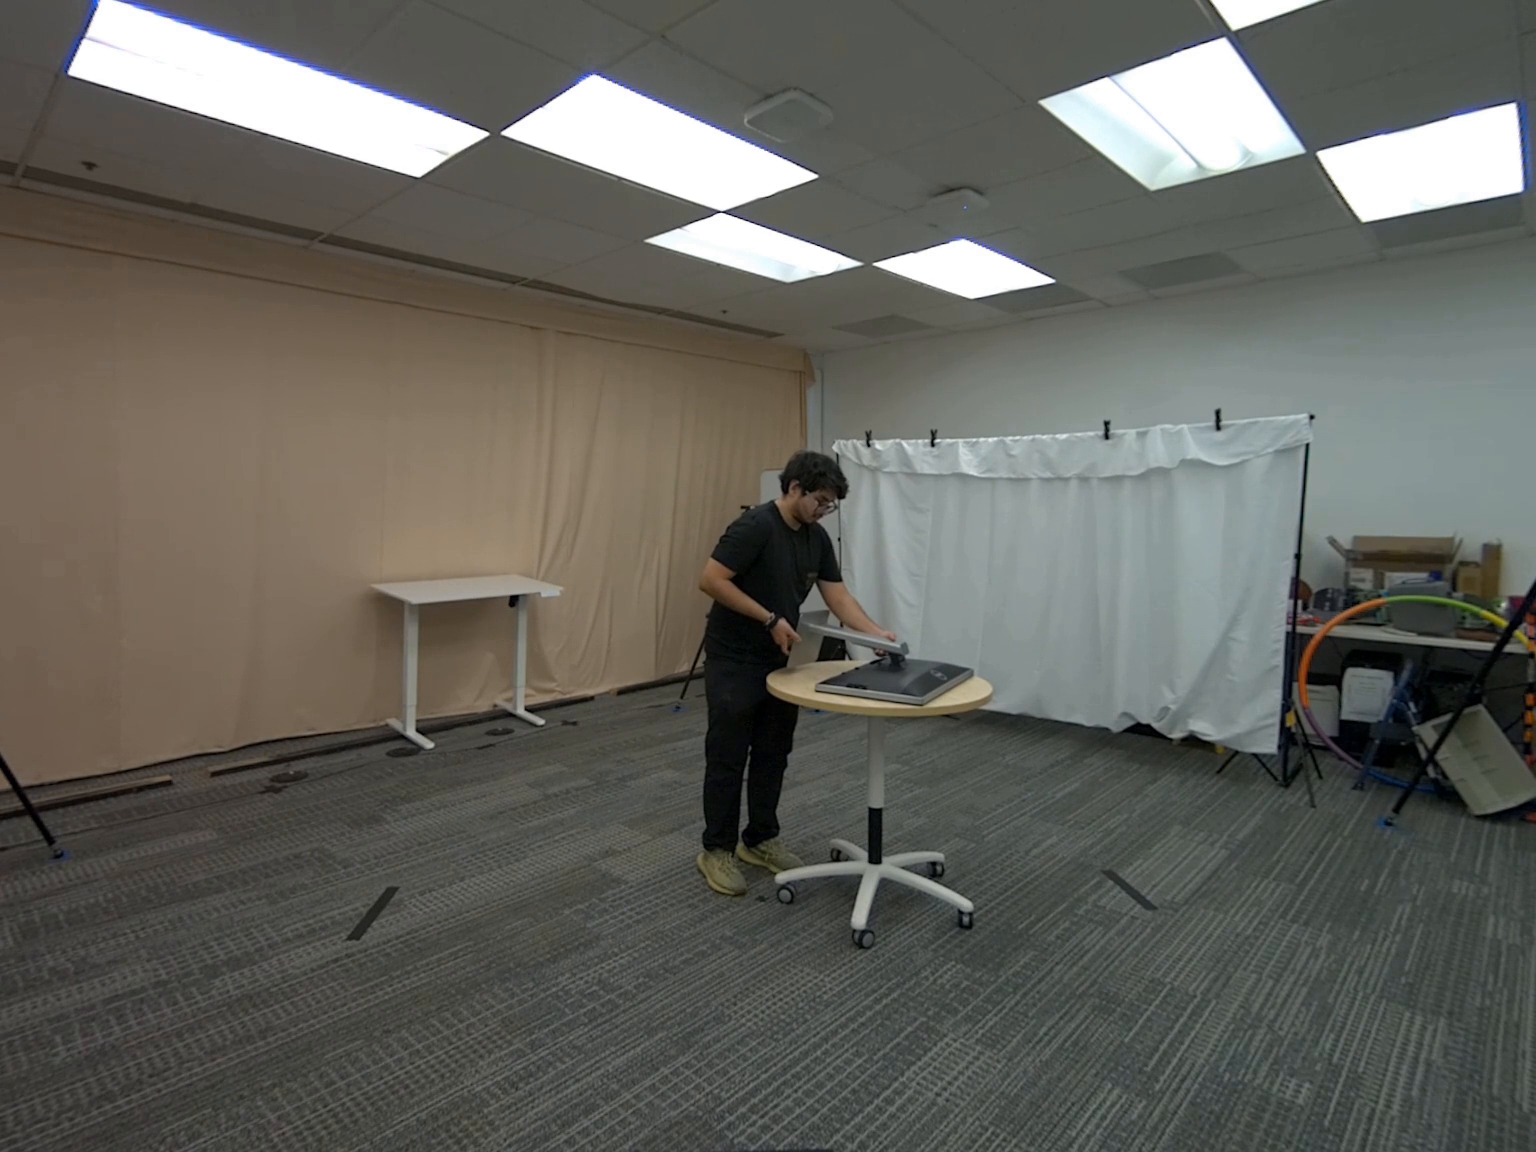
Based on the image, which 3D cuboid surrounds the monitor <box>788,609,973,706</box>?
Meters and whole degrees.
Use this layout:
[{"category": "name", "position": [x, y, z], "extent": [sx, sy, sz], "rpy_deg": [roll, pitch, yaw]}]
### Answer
[{"category": "monitor", "position": [0.375, 0.271, 2.916], "extent": [0.571, 0.209, 0.550], "rpy_deg": [9, 8, 31]}]
